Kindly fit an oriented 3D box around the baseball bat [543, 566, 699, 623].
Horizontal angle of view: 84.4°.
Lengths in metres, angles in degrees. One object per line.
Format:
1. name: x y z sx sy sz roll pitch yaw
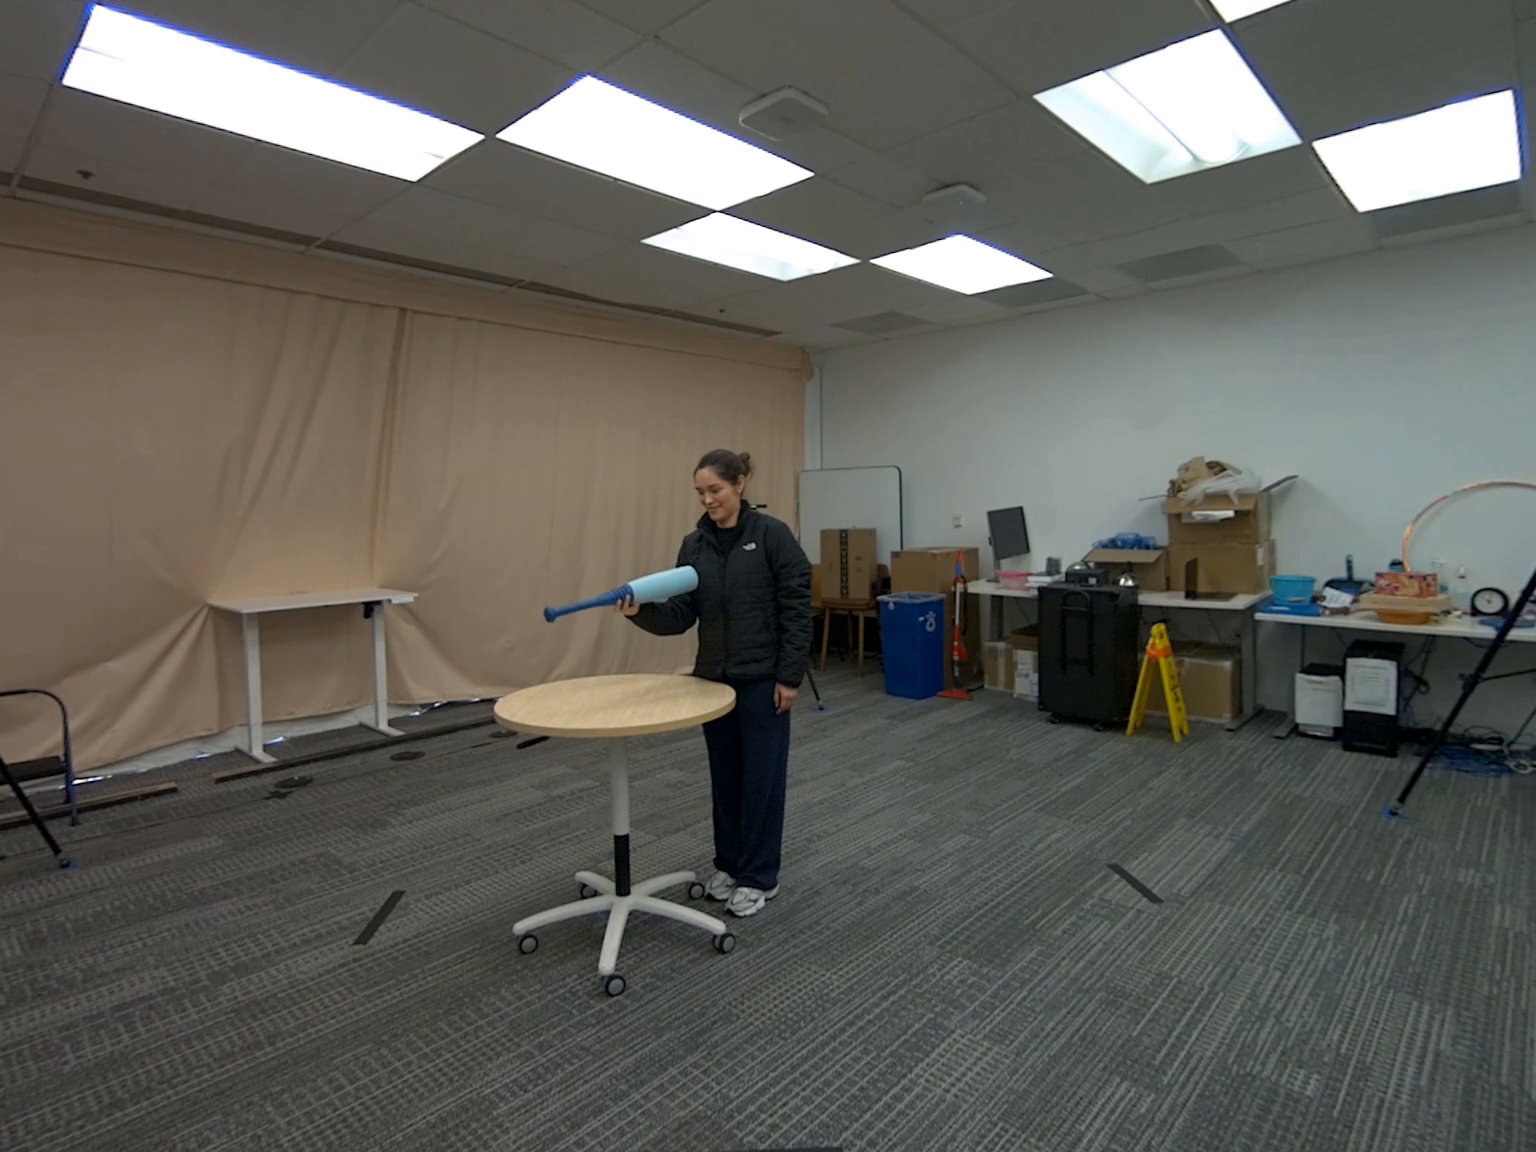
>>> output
1. baseball bat: -0.462 0.067 2.708 0.530 0.088 0.092 -17 12 -34
